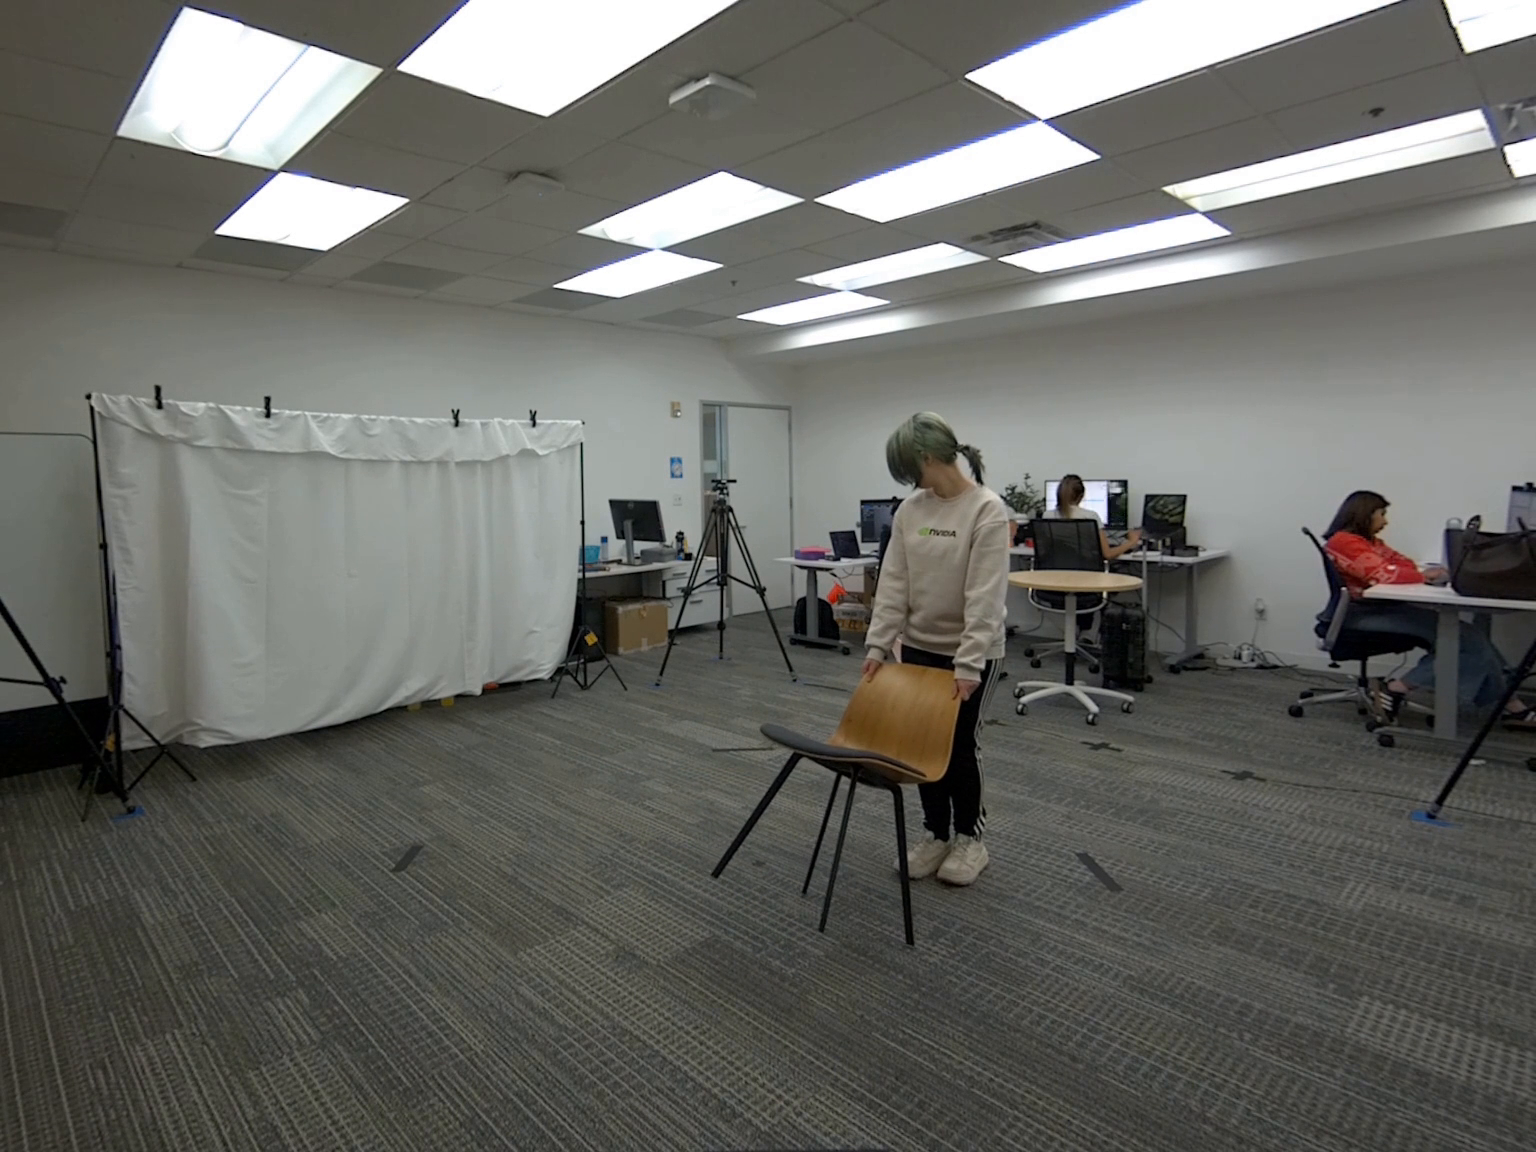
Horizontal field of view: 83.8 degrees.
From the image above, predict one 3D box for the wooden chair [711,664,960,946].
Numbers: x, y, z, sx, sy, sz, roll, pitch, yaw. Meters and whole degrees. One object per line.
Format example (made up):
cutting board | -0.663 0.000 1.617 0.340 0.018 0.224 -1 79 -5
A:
wooden chair | 0.251 0.603 2.656 0.493 0.884 0.503 4 -23 47
